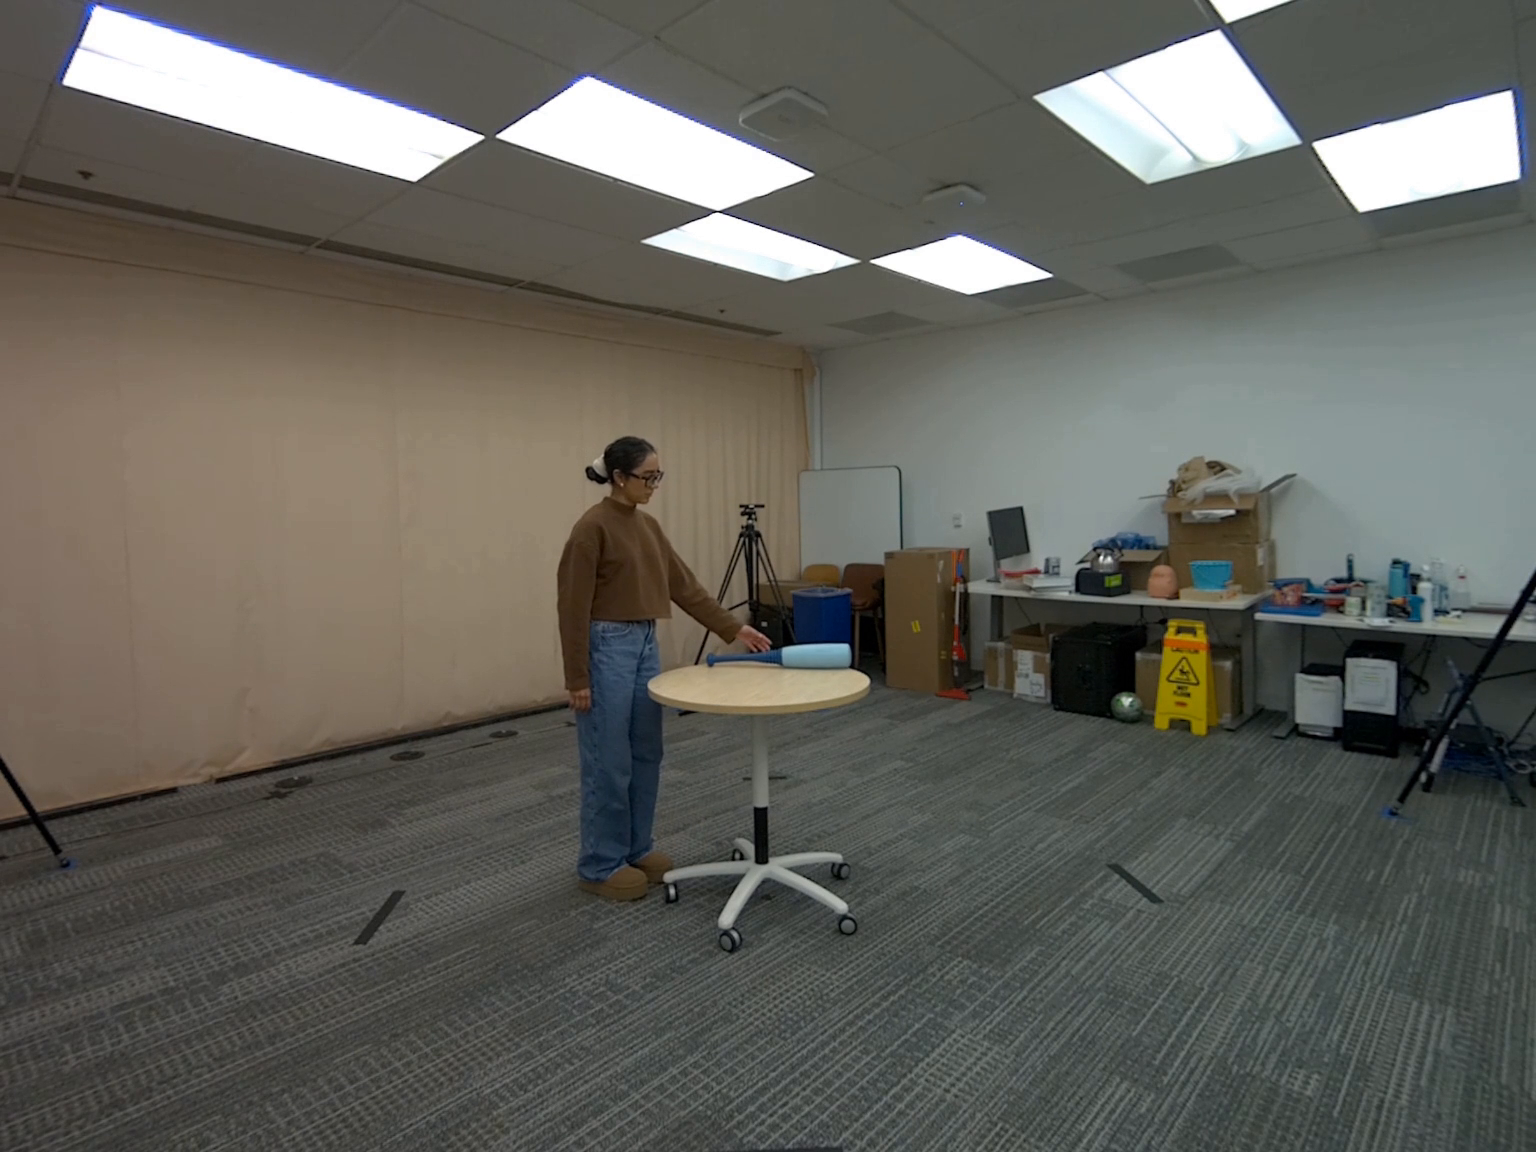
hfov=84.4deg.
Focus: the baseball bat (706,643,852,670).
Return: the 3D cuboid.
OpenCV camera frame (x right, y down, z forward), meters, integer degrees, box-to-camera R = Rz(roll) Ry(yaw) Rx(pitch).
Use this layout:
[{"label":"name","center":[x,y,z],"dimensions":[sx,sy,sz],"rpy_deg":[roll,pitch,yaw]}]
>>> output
[{"label":"baseball bat","center":[0.041,0.310,3.144],"dimensions":[0.550,0.089,0.088],"rpy_deg":[-3,3,13]}]
